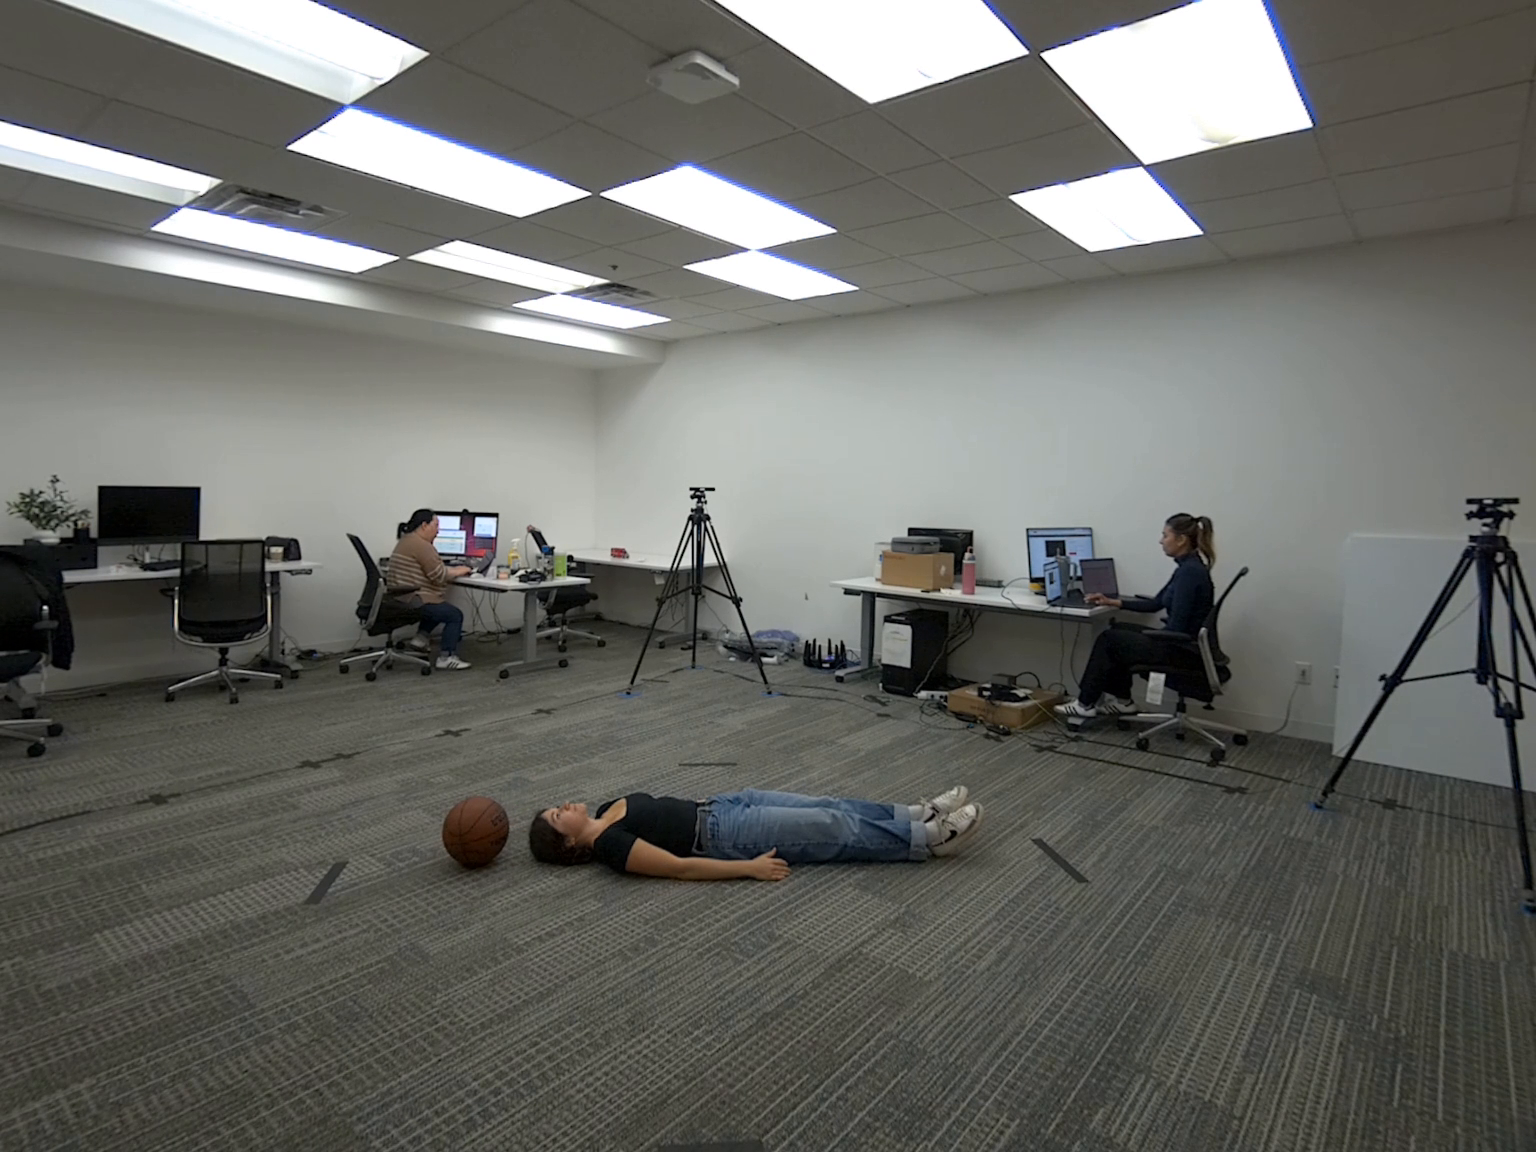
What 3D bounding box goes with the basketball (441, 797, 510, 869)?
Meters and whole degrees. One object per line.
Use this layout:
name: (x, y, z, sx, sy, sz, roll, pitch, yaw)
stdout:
basketball: (-1.089, 0.933, 3.119, 0.235, 0.235, 0.237, 1, 4, -2)
